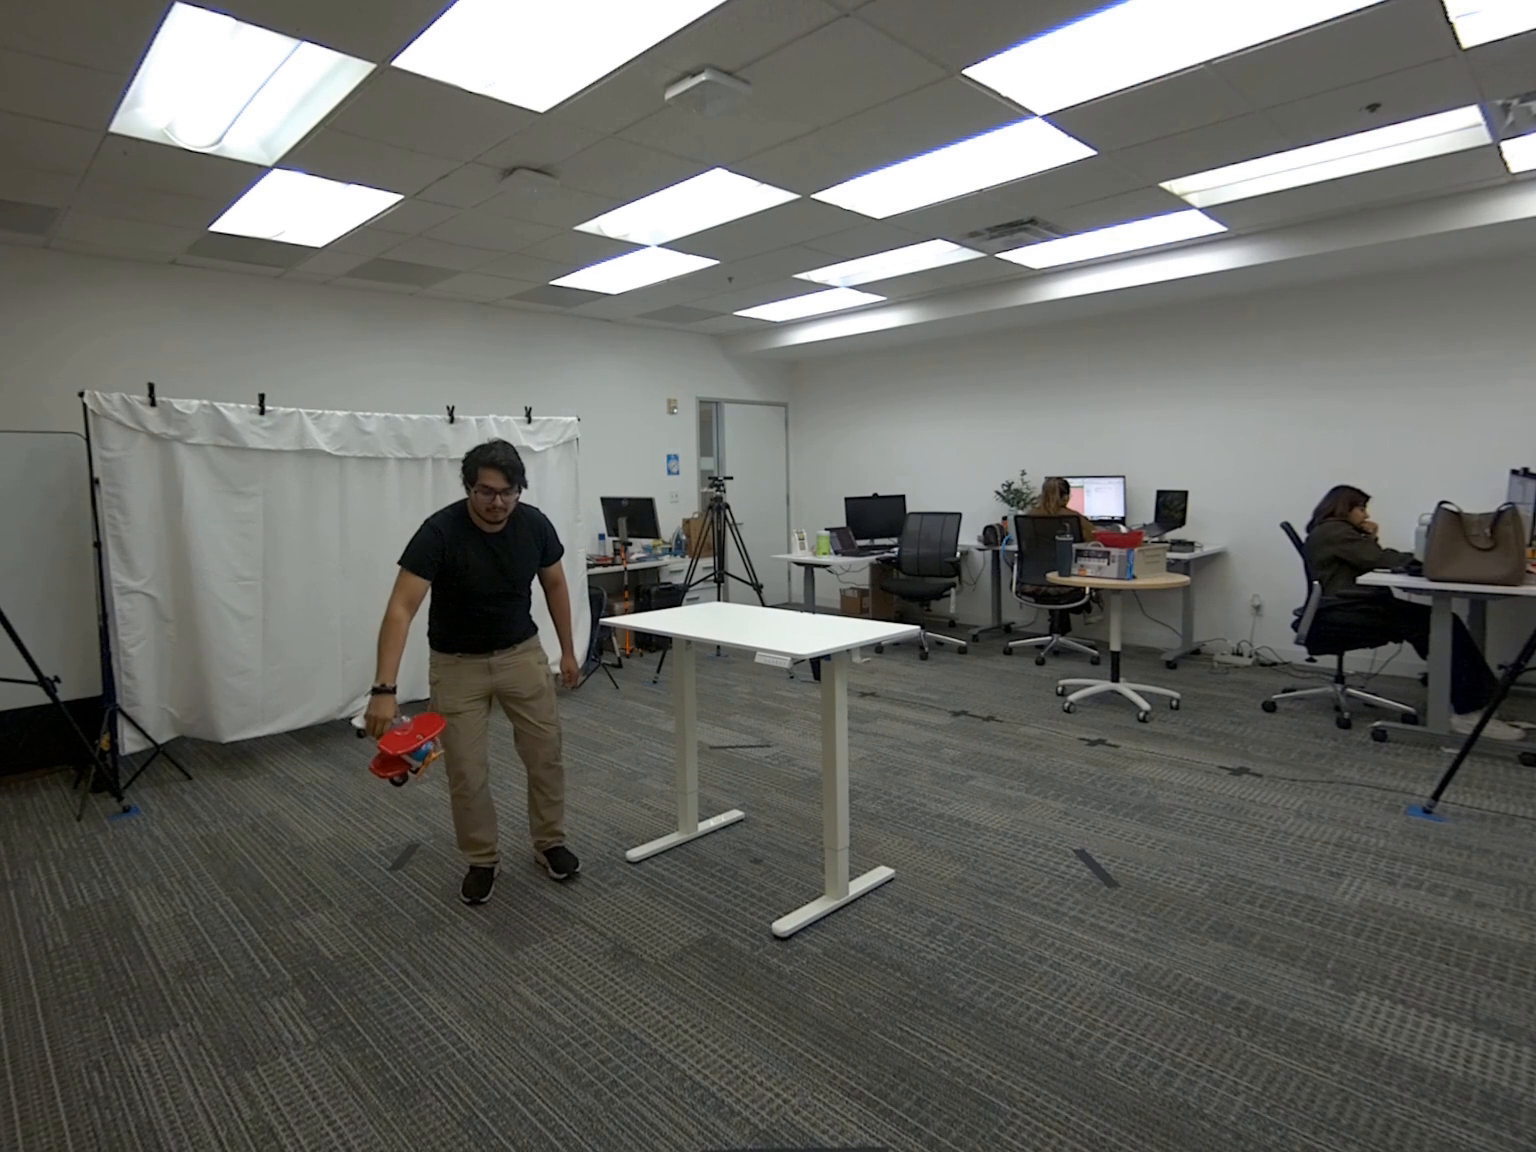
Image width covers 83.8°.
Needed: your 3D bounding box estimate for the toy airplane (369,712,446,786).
[{"bbox_3d":[-1.101,0.487,2.495,0.252,0.156,0.258,33,19,-23],"label":"toy airplane"}]
